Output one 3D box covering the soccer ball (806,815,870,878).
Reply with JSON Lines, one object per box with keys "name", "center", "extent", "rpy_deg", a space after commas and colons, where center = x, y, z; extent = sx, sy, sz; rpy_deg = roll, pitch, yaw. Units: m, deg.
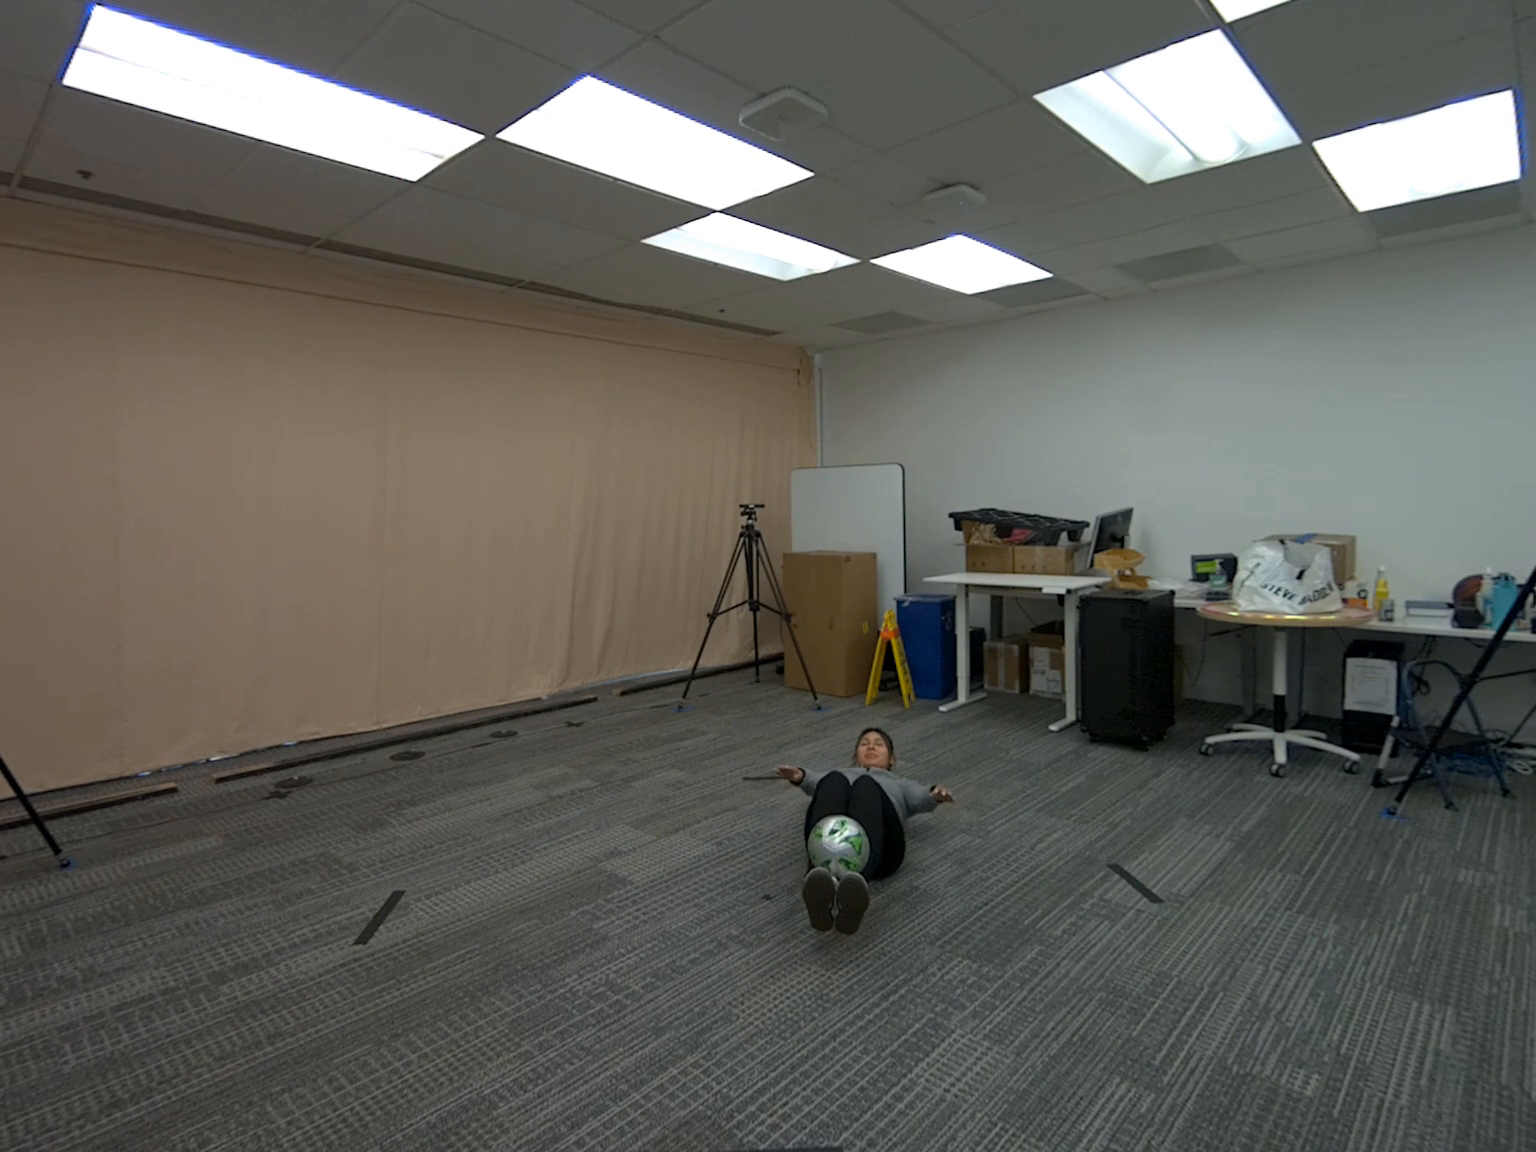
{"name": "soccer ball", "center": [0.220, 0.836, 2.582], "extent": [0.187, 0.187, 0.188], "rpy_deg": [-1, 4, -2]}
